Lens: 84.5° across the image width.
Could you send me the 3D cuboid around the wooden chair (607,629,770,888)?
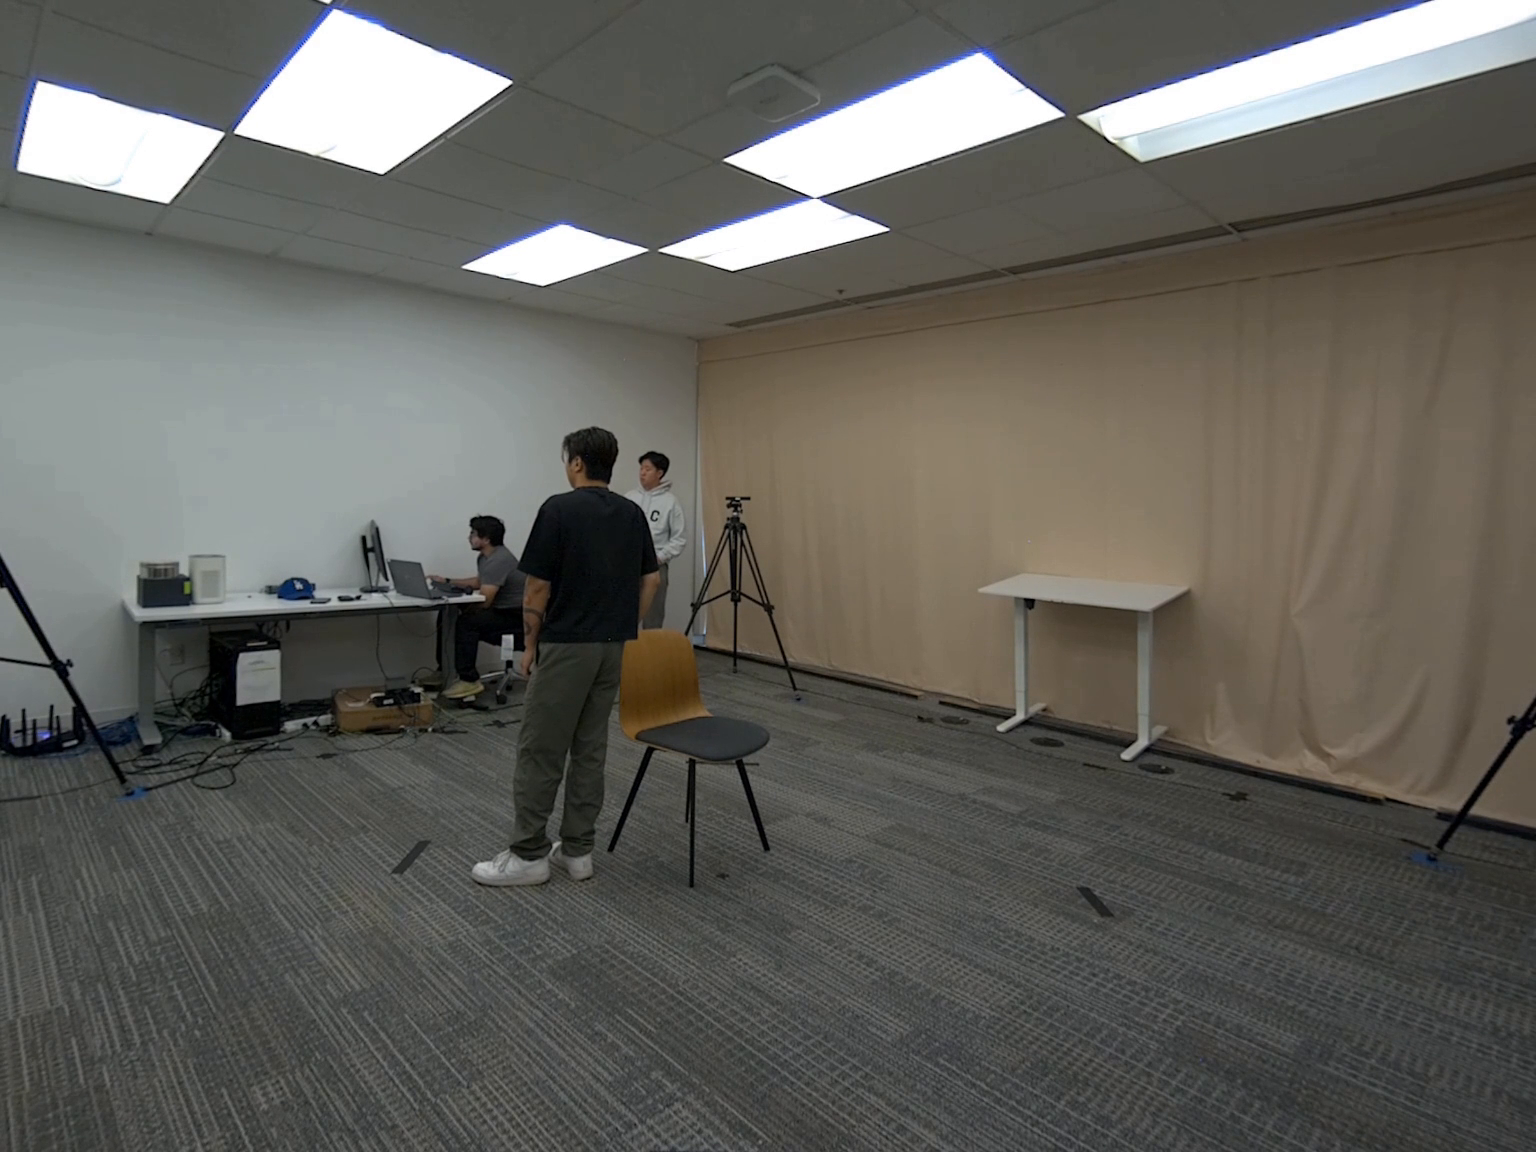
[{"bbox_3d":[-0.295,0.661,3.282,0.535,0.877,0.467,-1,1,40],"label":"wooden chair"}]
